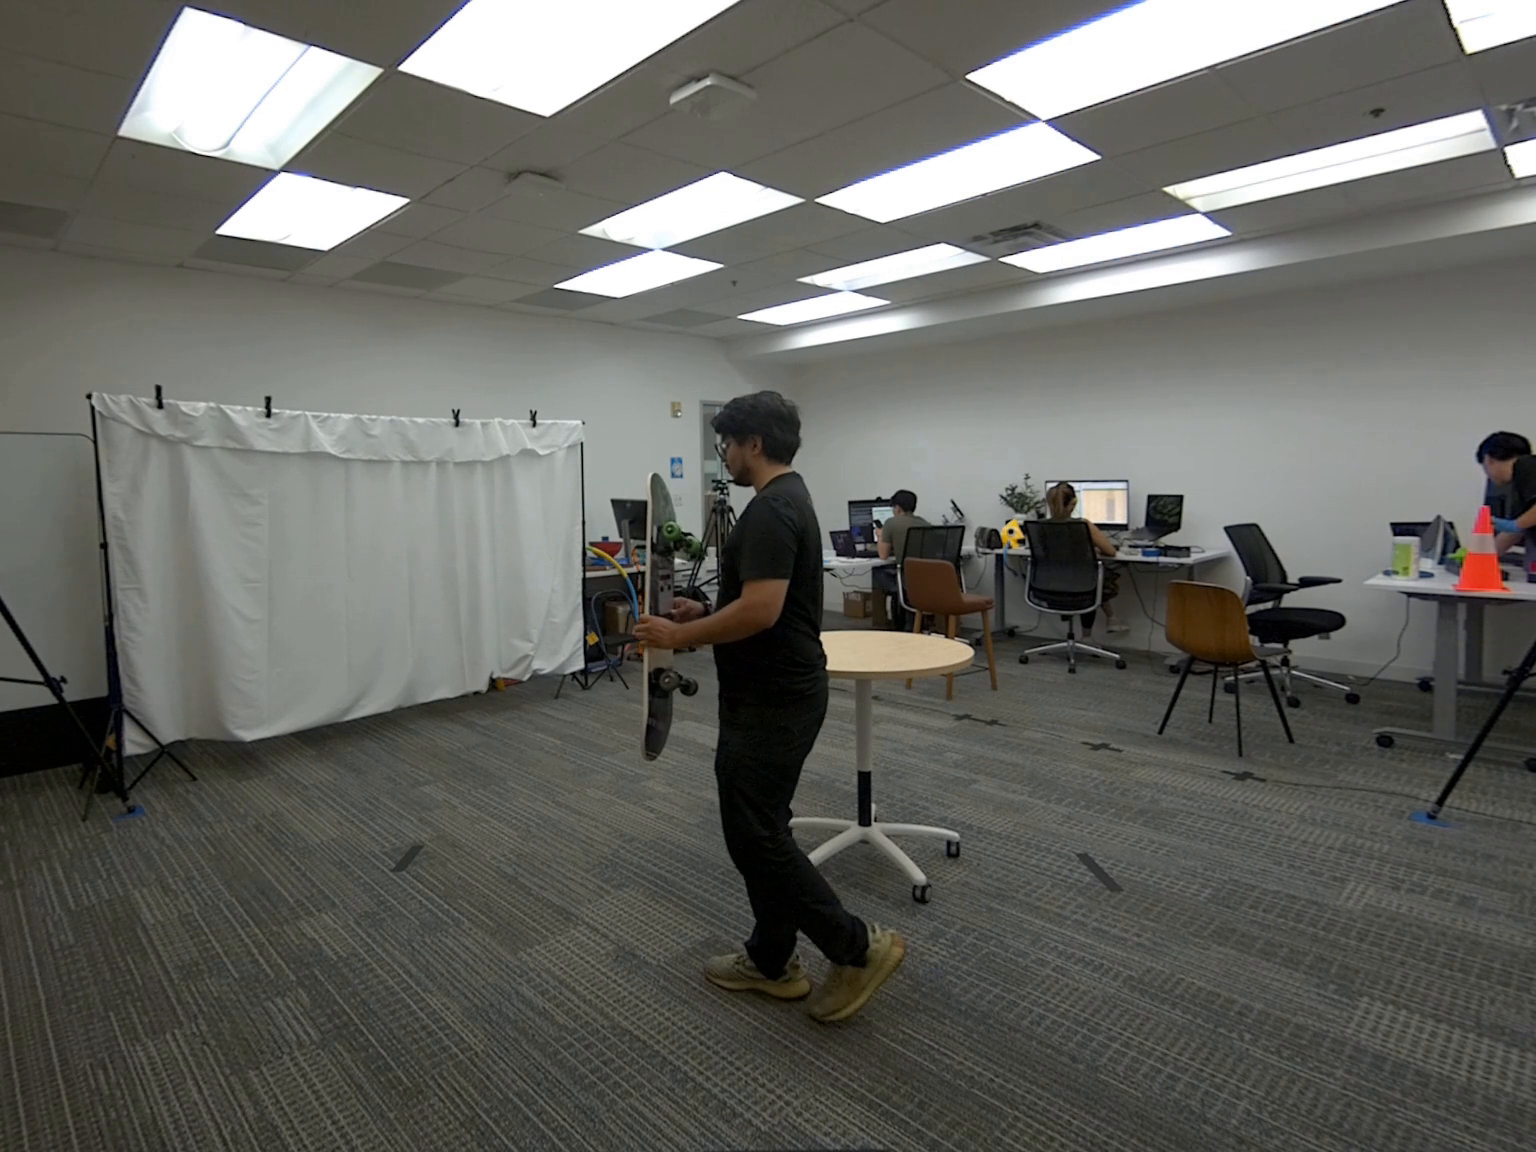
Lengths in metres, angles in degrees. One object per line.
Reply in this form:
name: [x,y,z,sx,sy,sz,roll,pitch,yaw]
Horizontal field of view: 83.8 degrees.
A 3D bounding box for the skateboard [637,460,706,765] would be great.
skateboard: [-0.255,0.095,2.308,0.112,0.795,0.188,-4,-13,14]
